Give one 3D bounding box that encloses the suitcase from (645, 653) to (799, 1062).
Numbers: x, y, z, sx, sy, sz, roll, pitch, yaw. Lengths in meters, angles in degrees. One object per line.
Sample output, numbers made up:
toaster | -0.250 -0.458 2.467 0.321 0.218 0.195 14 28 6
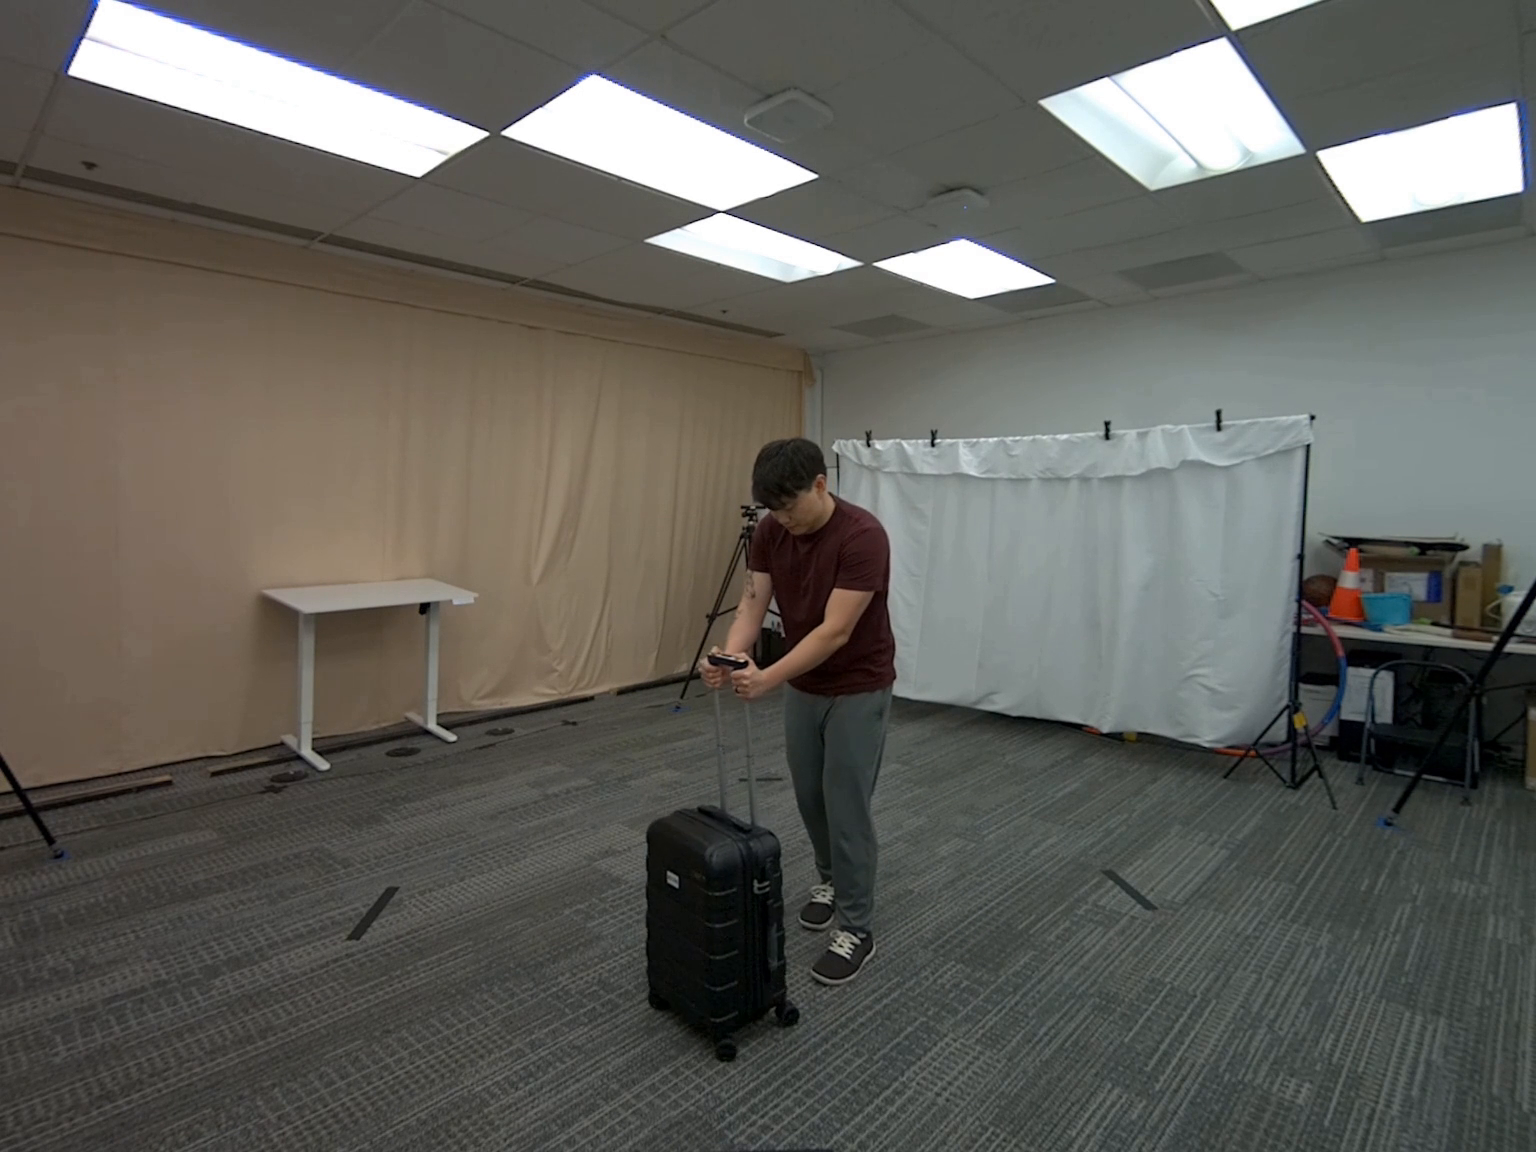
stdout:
suitcase | -0.155 0.735 2.265 0.249 0.976 0.396 -5 5 -41
